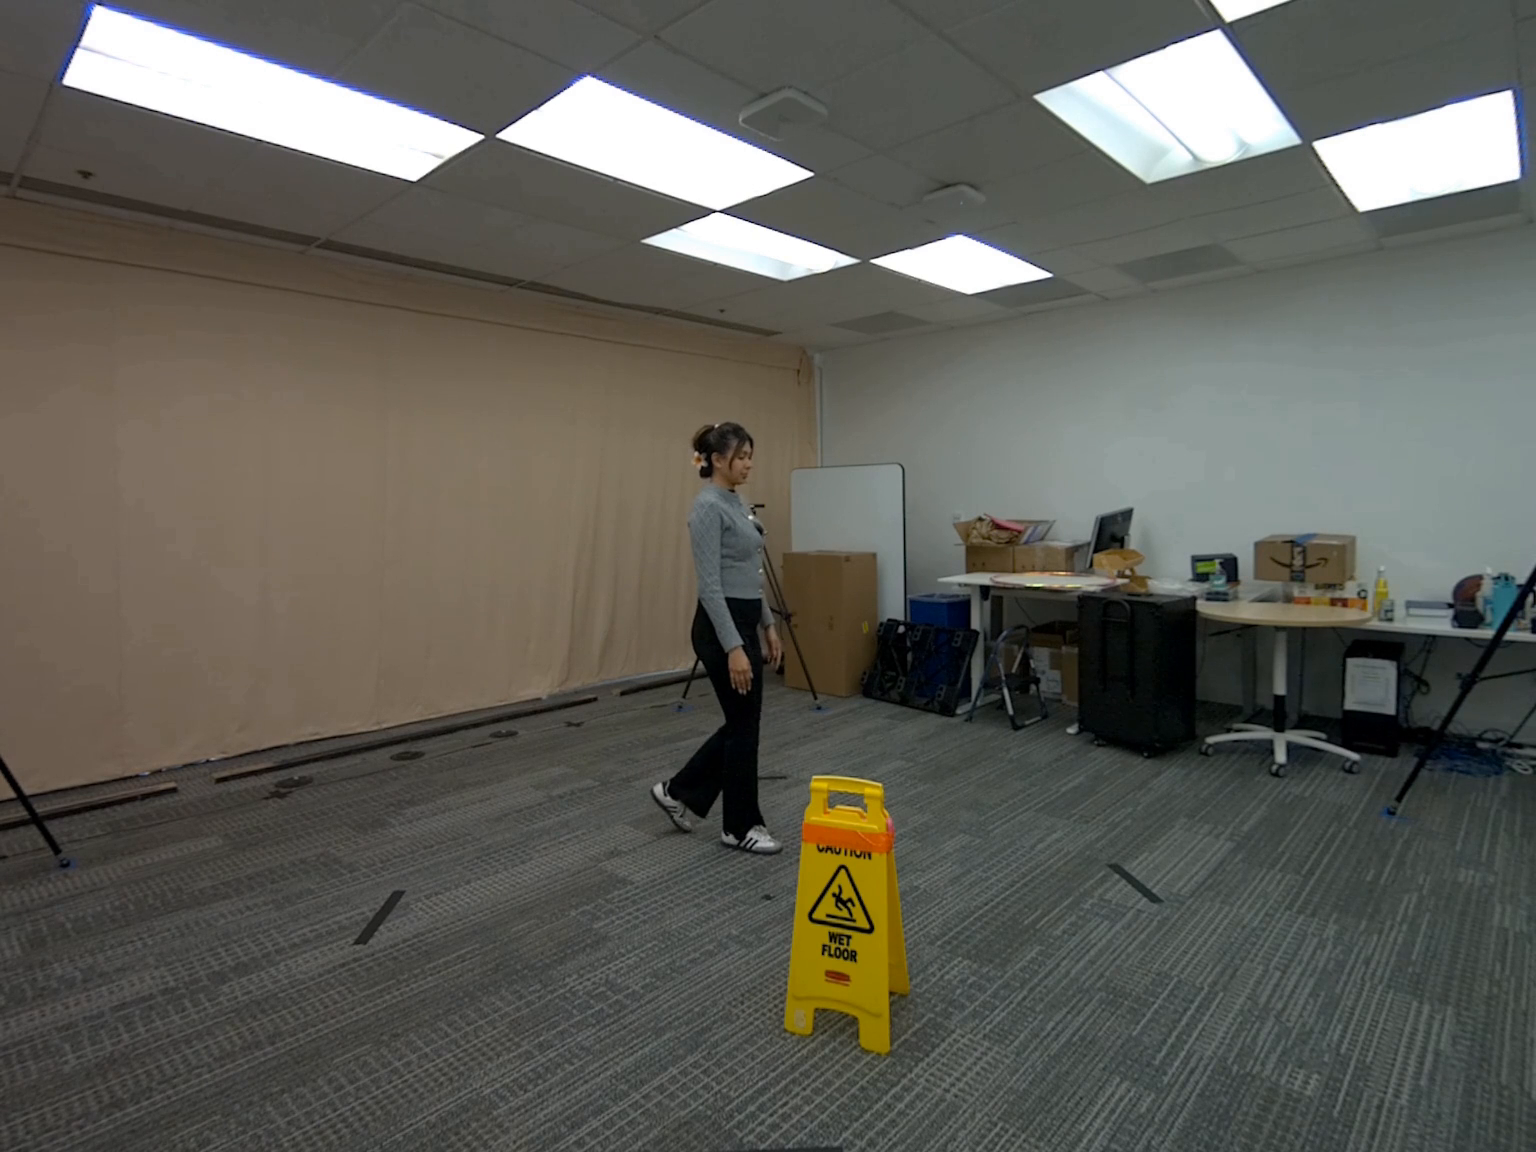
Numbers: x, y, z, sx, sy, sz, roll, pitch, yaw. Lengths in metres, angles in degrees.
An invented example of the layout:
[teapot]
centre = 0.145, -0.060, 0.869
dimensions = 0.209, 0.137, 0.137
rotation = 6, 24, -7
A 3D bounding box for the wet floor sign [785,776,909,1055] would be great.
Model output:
[wet floor sign]
centre = 0.225, 0.875, 2.284
dimensions = 0.289, 0.644, 0.284
rotation = 0, 4, 22
